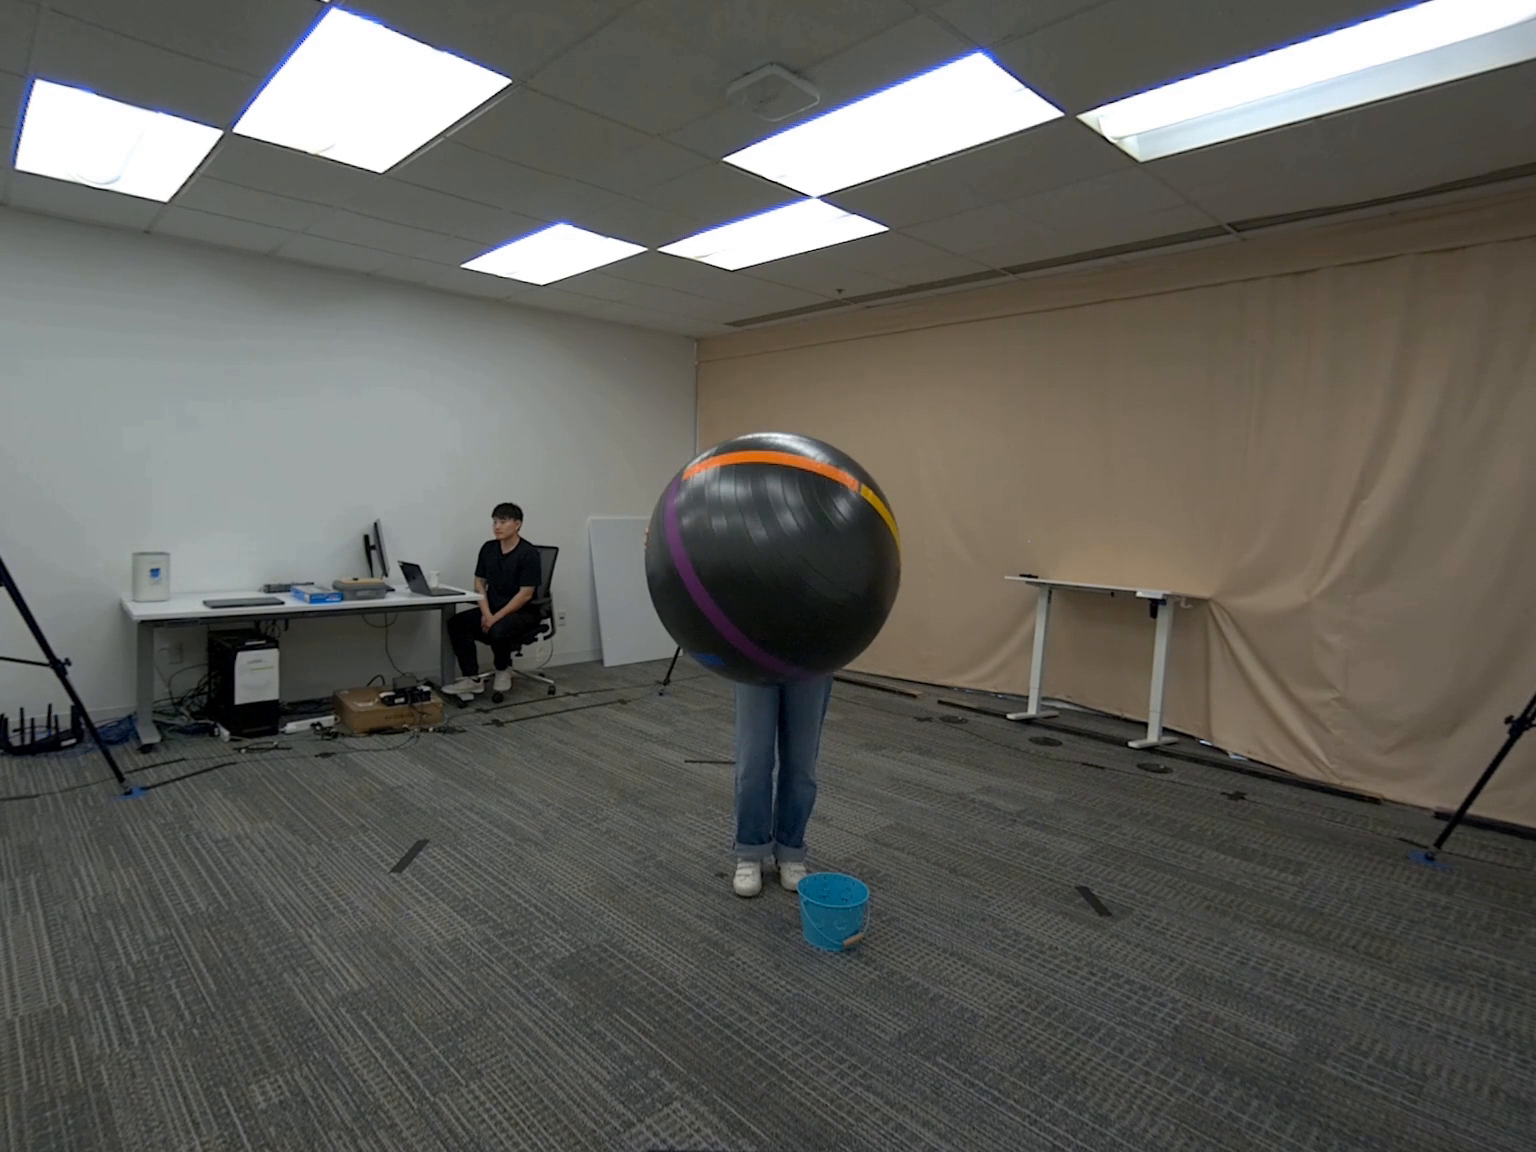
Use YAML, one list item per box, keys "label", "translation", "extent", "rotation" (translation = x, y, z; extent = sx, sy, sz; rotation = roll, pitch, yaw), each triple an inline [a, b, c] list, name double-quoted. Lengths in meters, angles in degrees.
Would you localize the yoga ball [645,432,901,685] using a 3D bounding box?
- label: "yoga ball"
  translation: [0.014, -0.033, 2.490]
  extent: [0.757, 0.756, 0.761]
  rotation: [1, 4, -1]
